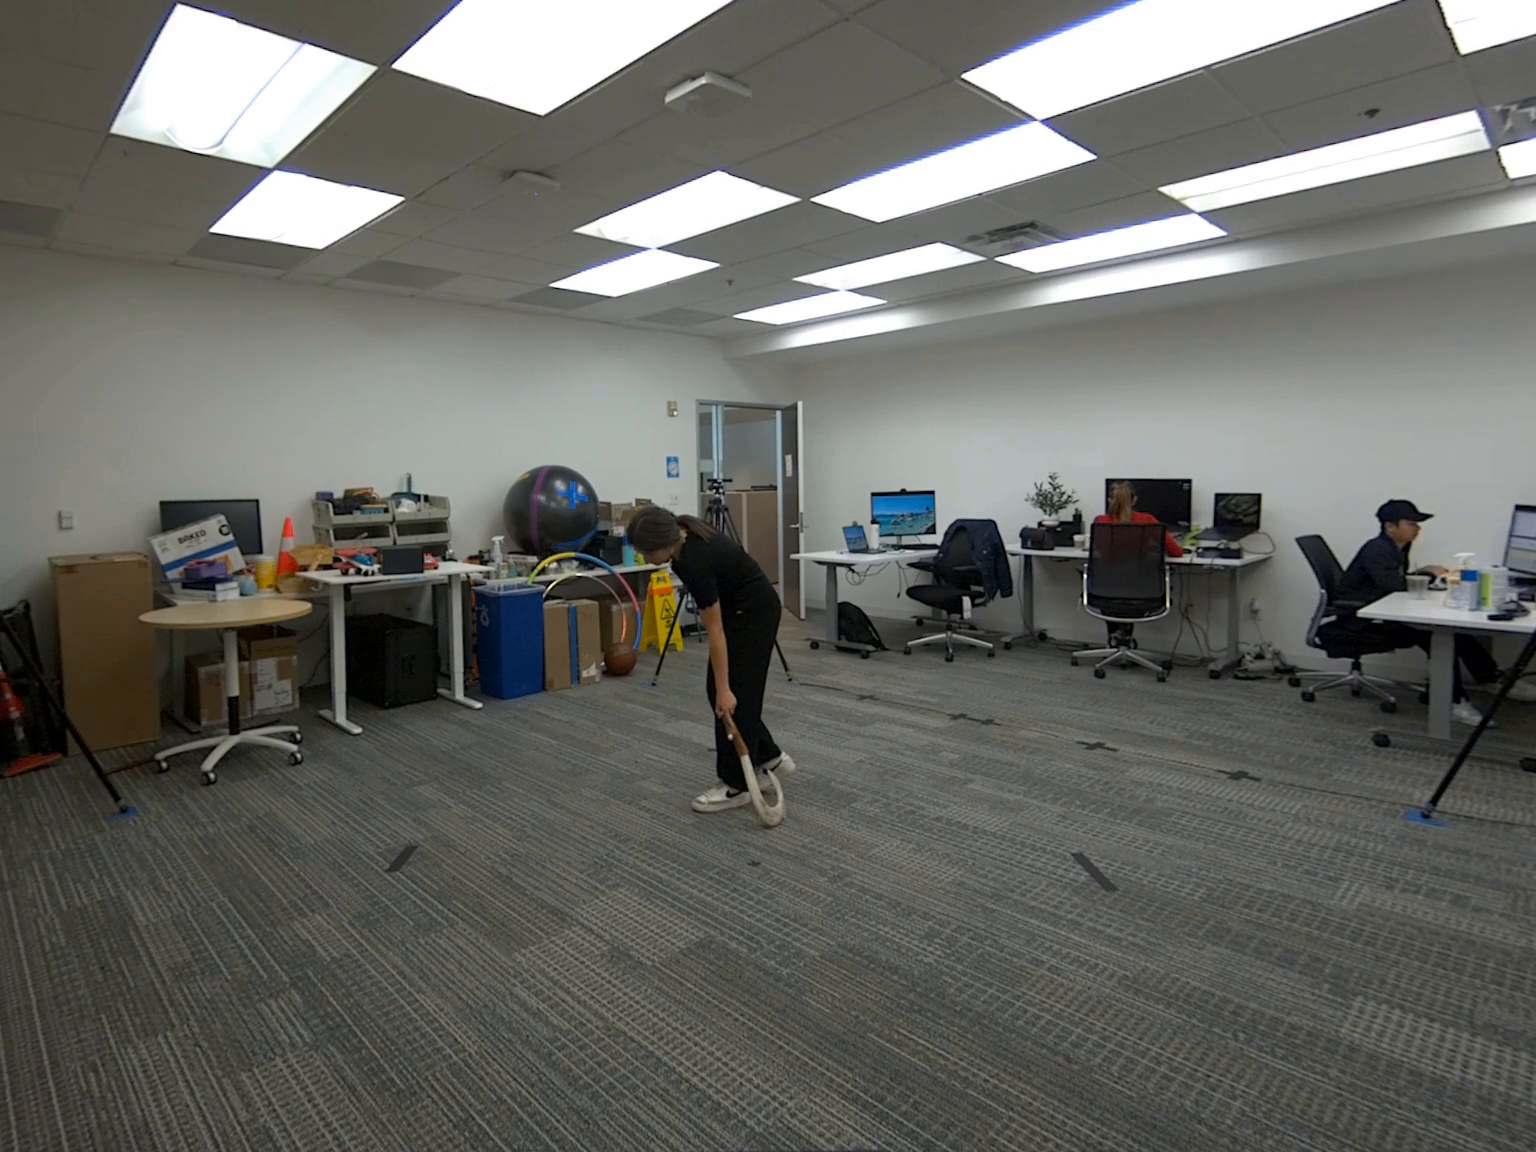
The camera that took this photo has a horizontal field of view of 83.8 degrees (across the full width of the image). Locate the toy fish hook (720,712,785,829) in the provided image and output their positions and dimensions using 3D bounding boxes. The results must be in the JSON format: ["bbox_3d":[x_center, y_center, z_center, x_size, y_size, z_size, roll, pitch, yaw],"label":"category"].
[{"bbox_3d":[-0.059,0.780,3.512,0.049,0.512,0.220,-27,-8,21],"label":"toy fish hook"}]
